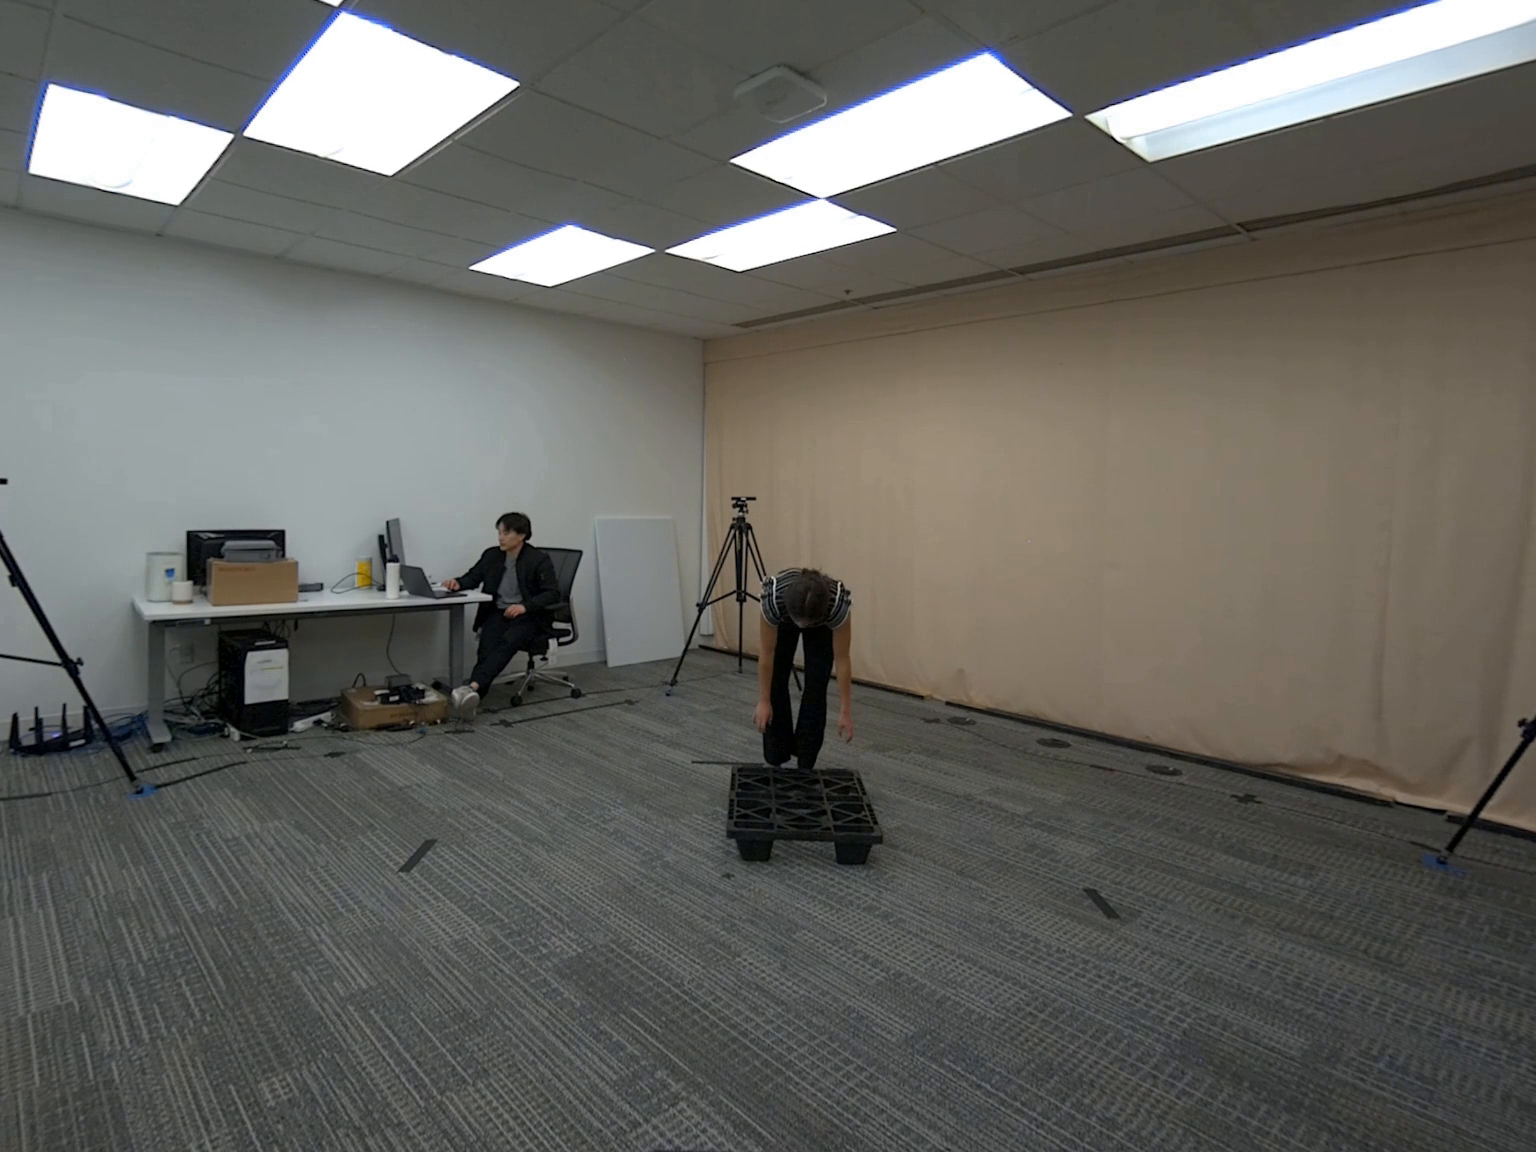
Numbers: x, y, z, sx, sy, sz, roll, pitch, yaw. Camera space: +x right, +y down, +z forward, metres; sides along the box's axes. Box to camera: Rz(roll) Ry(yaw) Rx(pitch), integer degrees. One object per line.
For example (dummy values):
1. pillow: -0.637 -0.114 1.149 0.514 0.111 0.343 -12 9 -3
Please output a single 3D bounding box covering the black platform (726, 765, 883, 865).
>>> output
1. black platform: 0.123 1.002 3.591 0.605 0.143 0.807 2 5 0
